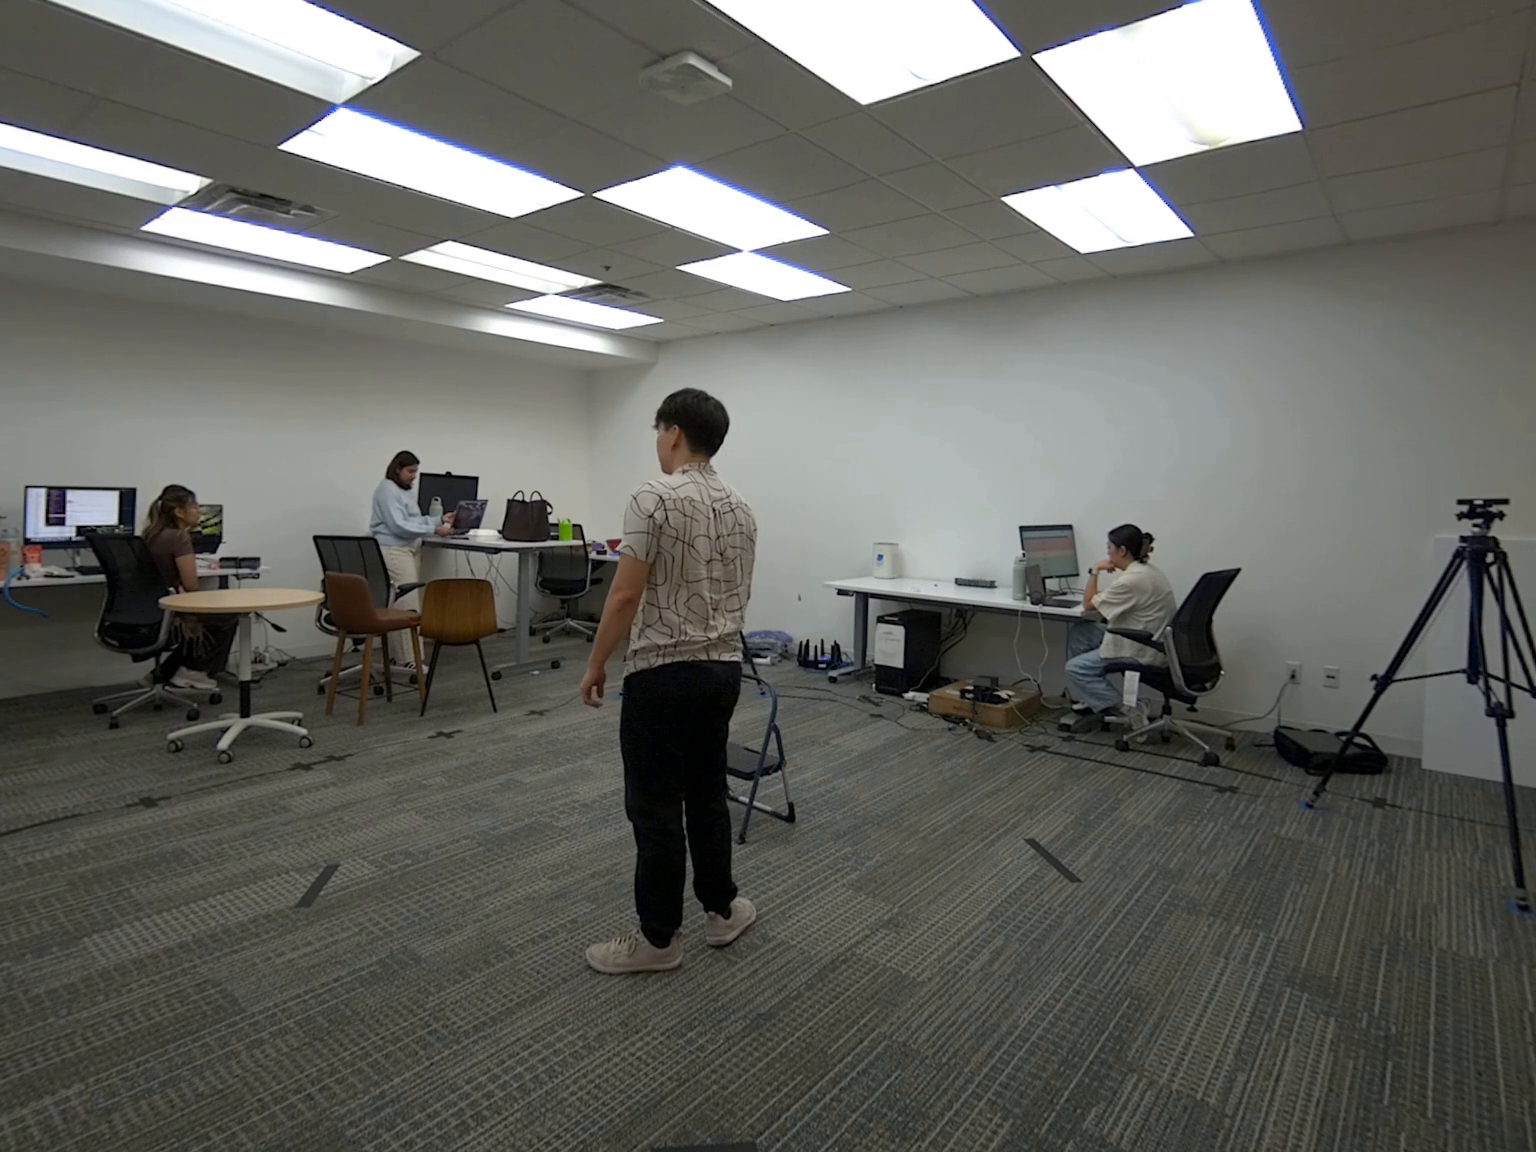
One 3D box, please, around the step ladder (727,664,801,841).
[{"bbox_3d":[-0.147,0.716,3.585,0.445,0.605,0.338,4,4,44],"label":"step ladder"}]
